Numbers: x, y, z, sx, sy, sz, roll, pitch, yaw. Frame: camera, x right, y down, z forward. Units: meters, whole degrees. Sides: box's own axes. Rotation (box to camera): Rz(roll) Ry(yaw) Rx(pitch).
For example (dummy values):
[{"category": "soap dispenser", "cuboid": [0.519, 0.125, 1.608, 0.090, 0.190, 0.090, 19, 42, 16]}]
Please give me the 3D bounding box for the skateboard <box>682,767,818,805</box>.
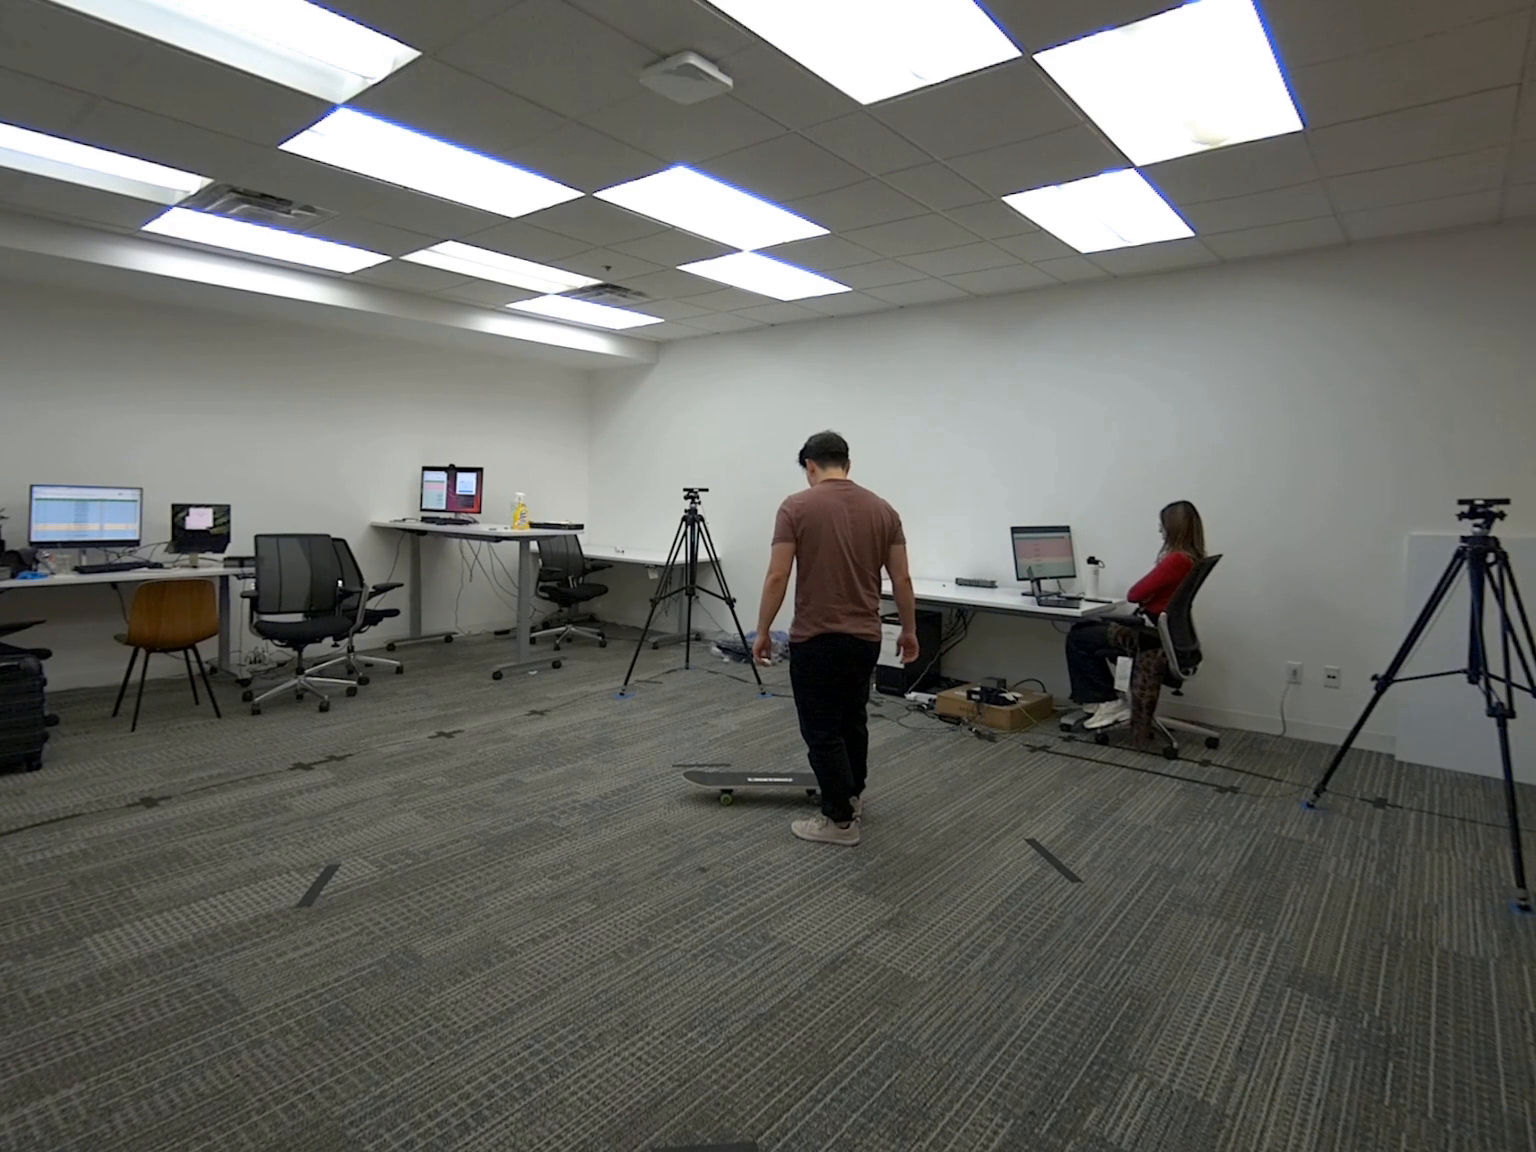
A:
[{"category": "skateboard", "cuboid": [-0.007, 0.946, 3.837, 0.784, 0.110, 0.195, 1, 6, -2]}]
